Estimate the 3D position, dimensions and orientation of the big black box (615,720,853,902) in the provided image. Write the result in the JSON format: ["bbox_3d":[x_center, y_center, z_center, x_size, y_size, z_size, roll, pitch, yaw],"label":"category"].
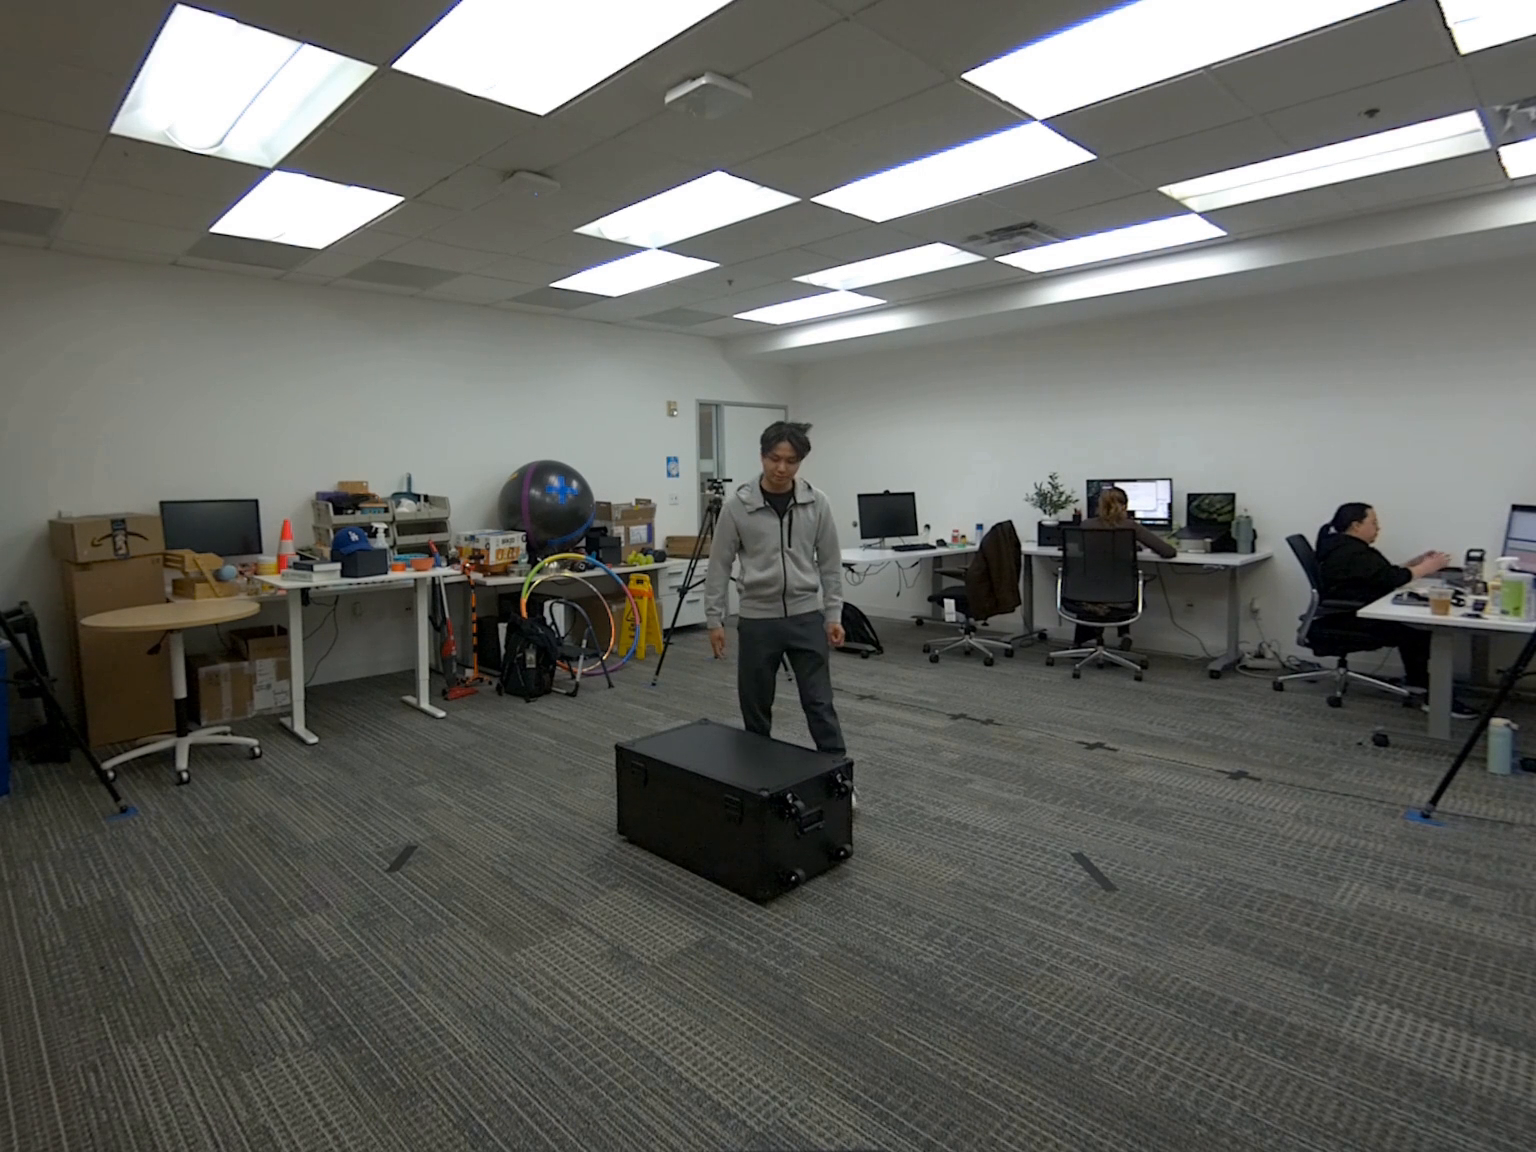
[{"bbox_3d":[-0.117,0.847,3.184,0.888,0.395,0.507,4,7,43],"label":"big black box"}]
